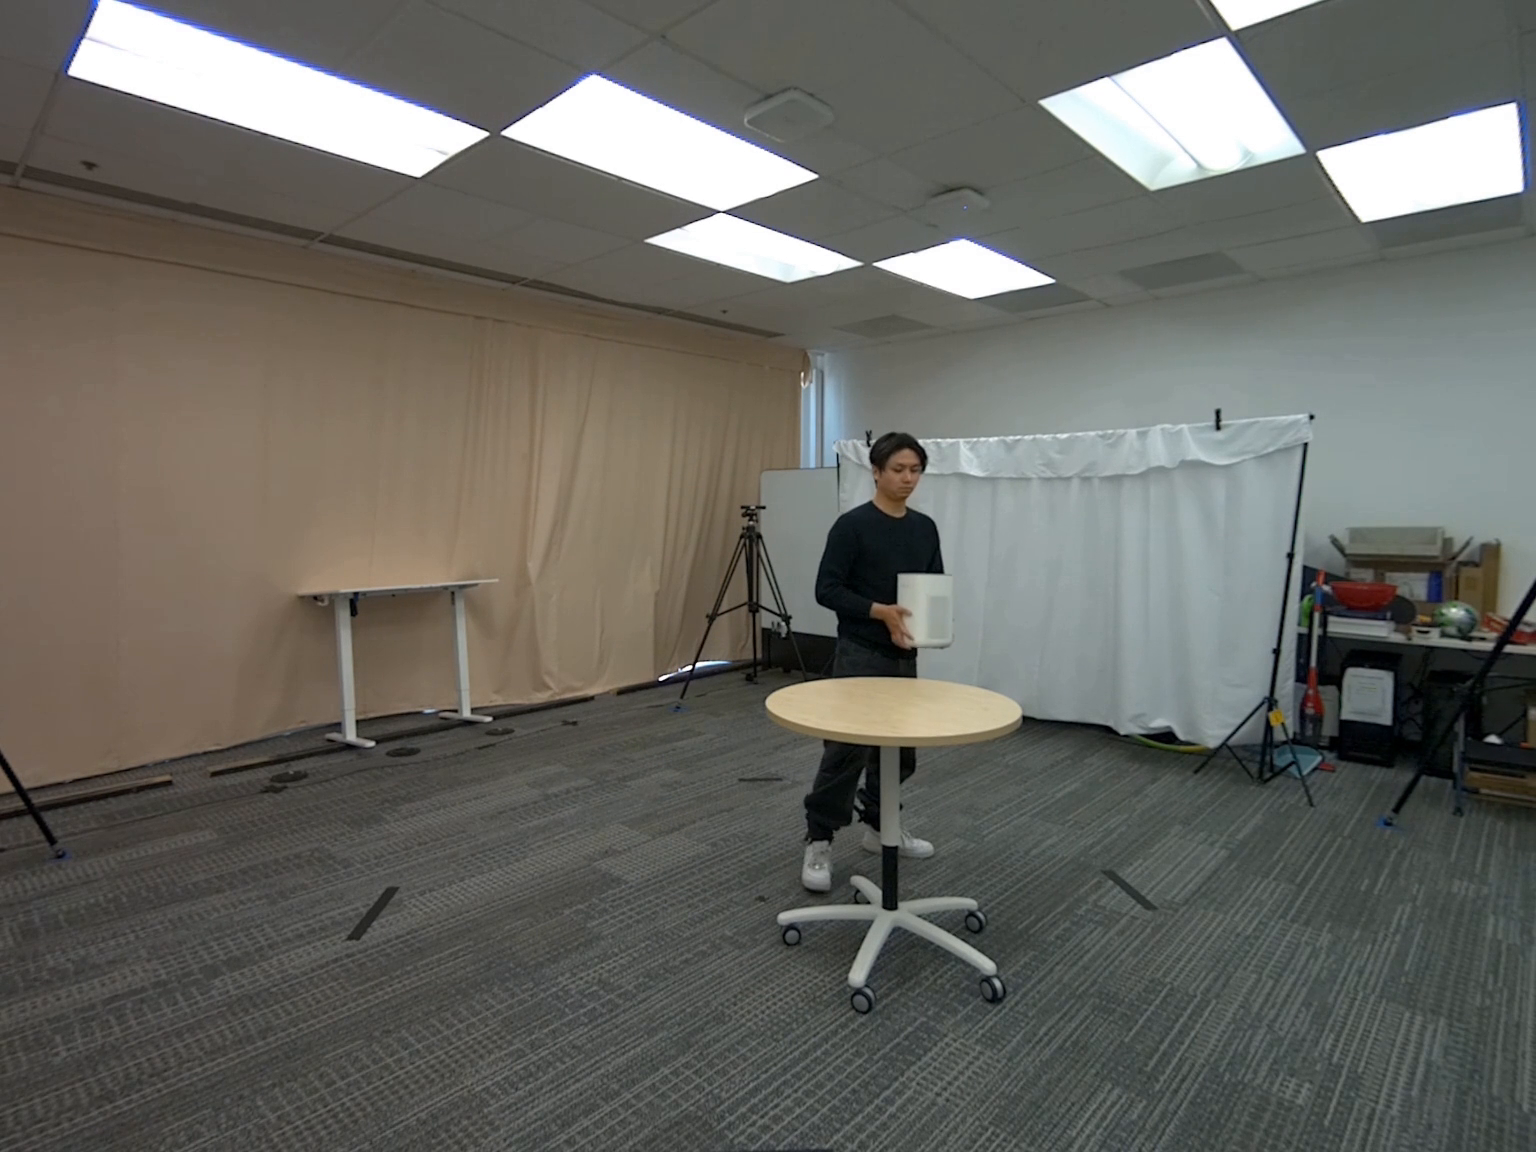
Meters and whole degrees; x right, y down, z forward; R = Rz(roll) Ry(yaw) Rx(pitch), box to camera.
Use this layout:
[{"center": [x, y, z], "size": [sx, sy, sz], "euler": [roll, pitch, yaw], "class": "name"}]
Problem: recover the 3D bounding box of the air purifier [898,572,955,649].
[{"center": [0.549, 0.120, 3.052], "size": [0.169, 0.266, 0.174], "euler": [2, -3, -16], "class": "air purifier"}]
